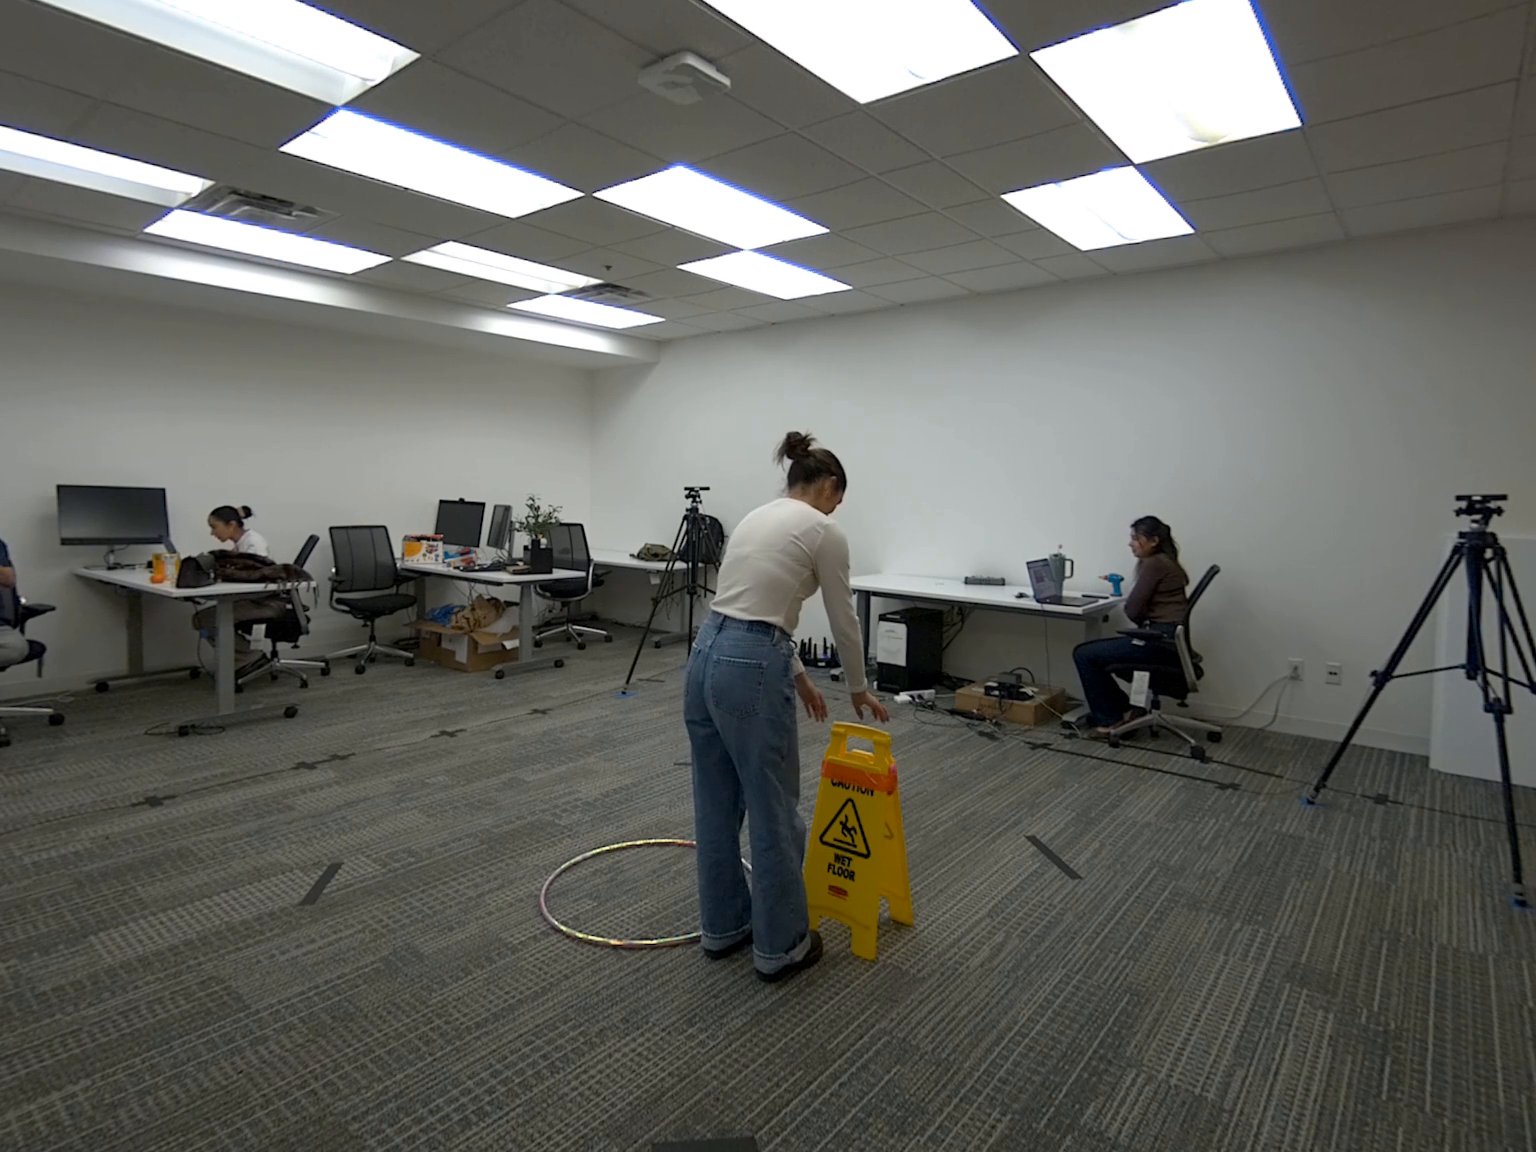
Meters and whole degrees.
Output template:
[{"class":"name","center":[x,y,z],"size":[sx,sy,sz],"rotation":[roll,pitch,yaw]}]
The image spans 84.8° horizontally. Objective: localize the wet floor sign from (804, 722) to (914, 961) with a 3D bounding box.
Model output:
[{"class":"wet floor sign","center":[0.273,0.790,2.691],"size":[0.291,0.644,0.281],"rotation":[4,4,36]}]
